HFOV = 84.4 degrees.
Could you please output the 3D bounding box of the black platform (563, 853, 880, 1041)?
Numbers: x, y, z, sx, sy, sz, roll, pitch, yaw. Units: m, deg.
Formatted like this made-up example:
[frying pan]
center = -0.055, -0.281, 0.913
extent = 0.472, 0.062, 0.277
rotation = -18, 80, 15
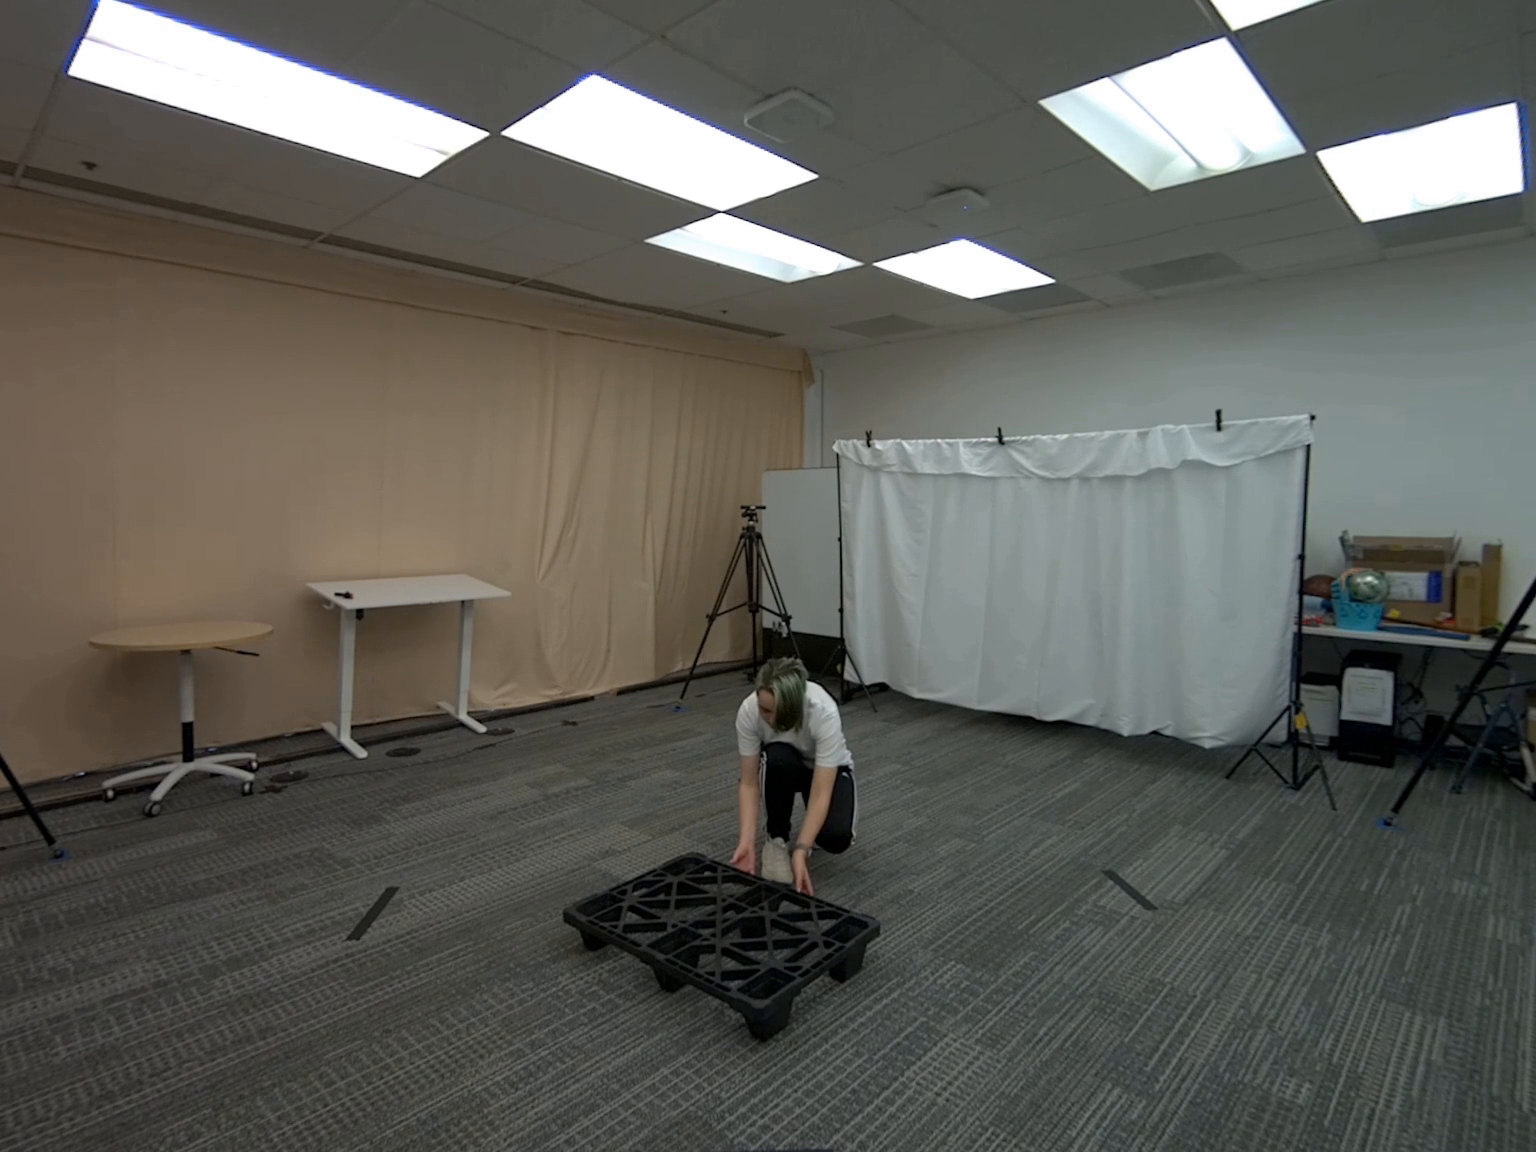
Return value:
[black platform]
center = -0.157, 1.112, 2.594
extent = 0.832, 0.143, 0.587
rotation = 4, 6, 40
